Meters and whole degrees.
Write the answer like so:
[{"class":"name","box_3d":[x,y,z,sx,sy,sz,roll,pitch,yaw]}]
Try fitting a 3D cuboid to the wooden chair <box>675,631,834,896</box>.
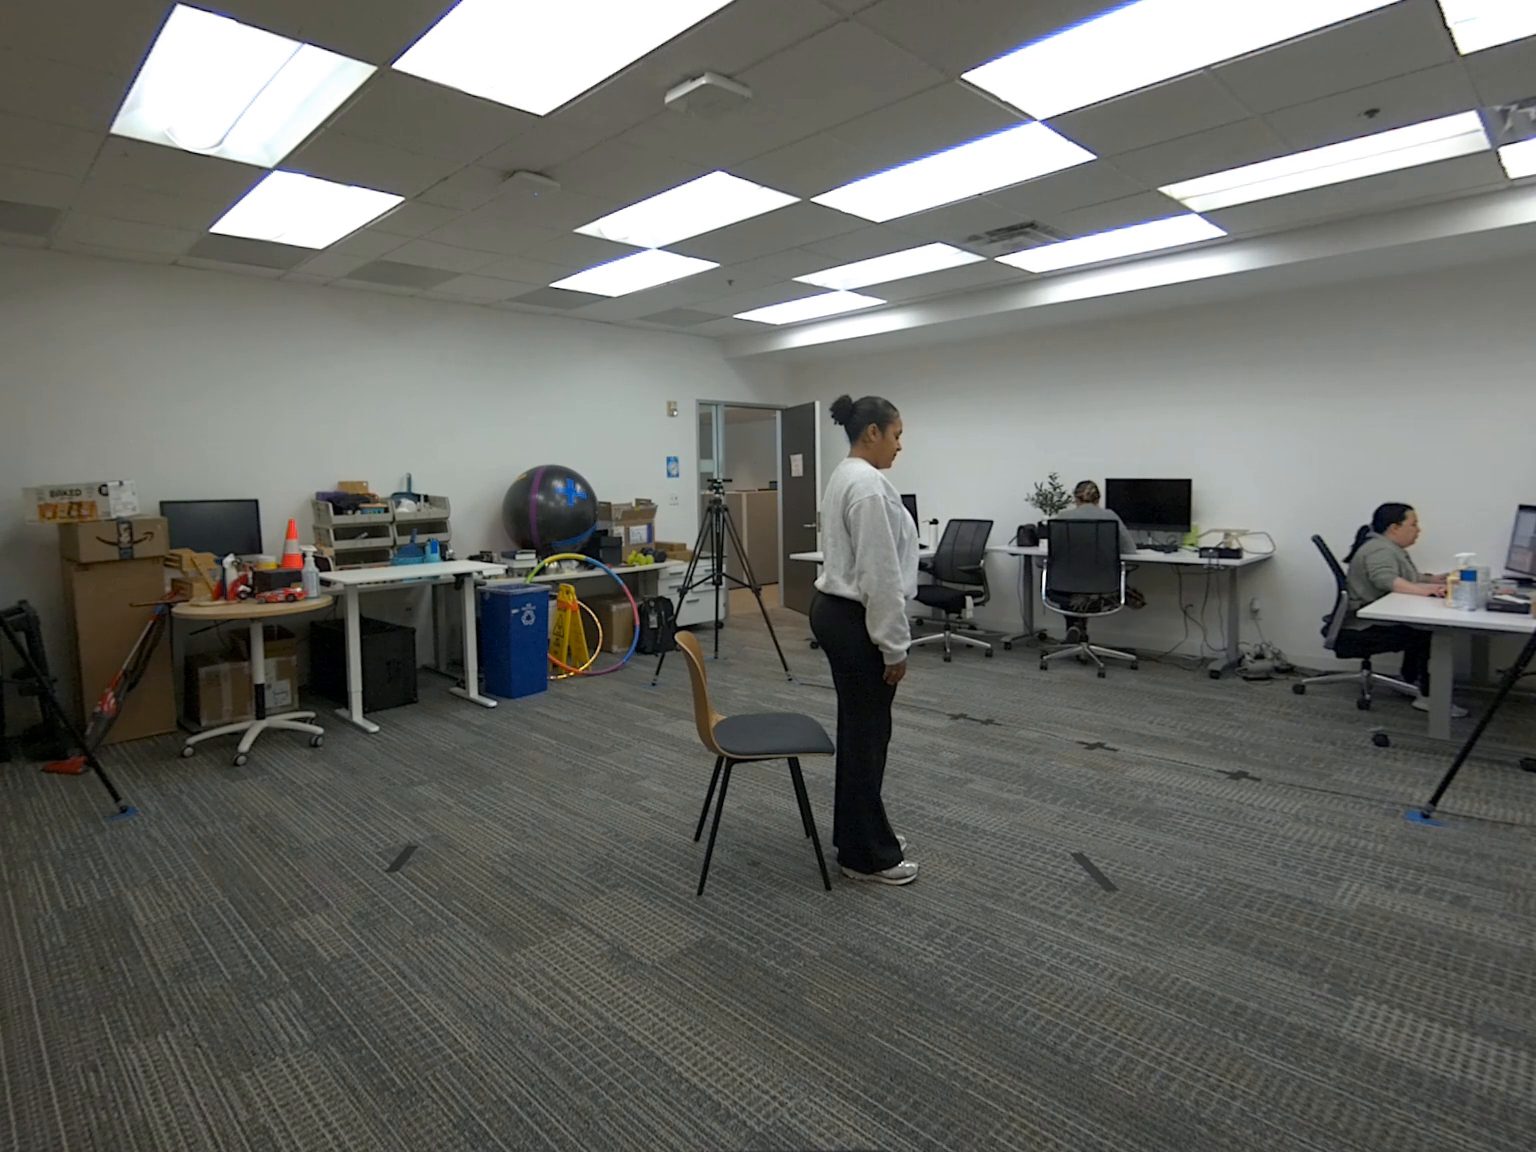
[{"class":"wooden chair","box_3d":[-0.035,0.617,3.071,0.521,0.874,0.482,-5,4,-5]}]
